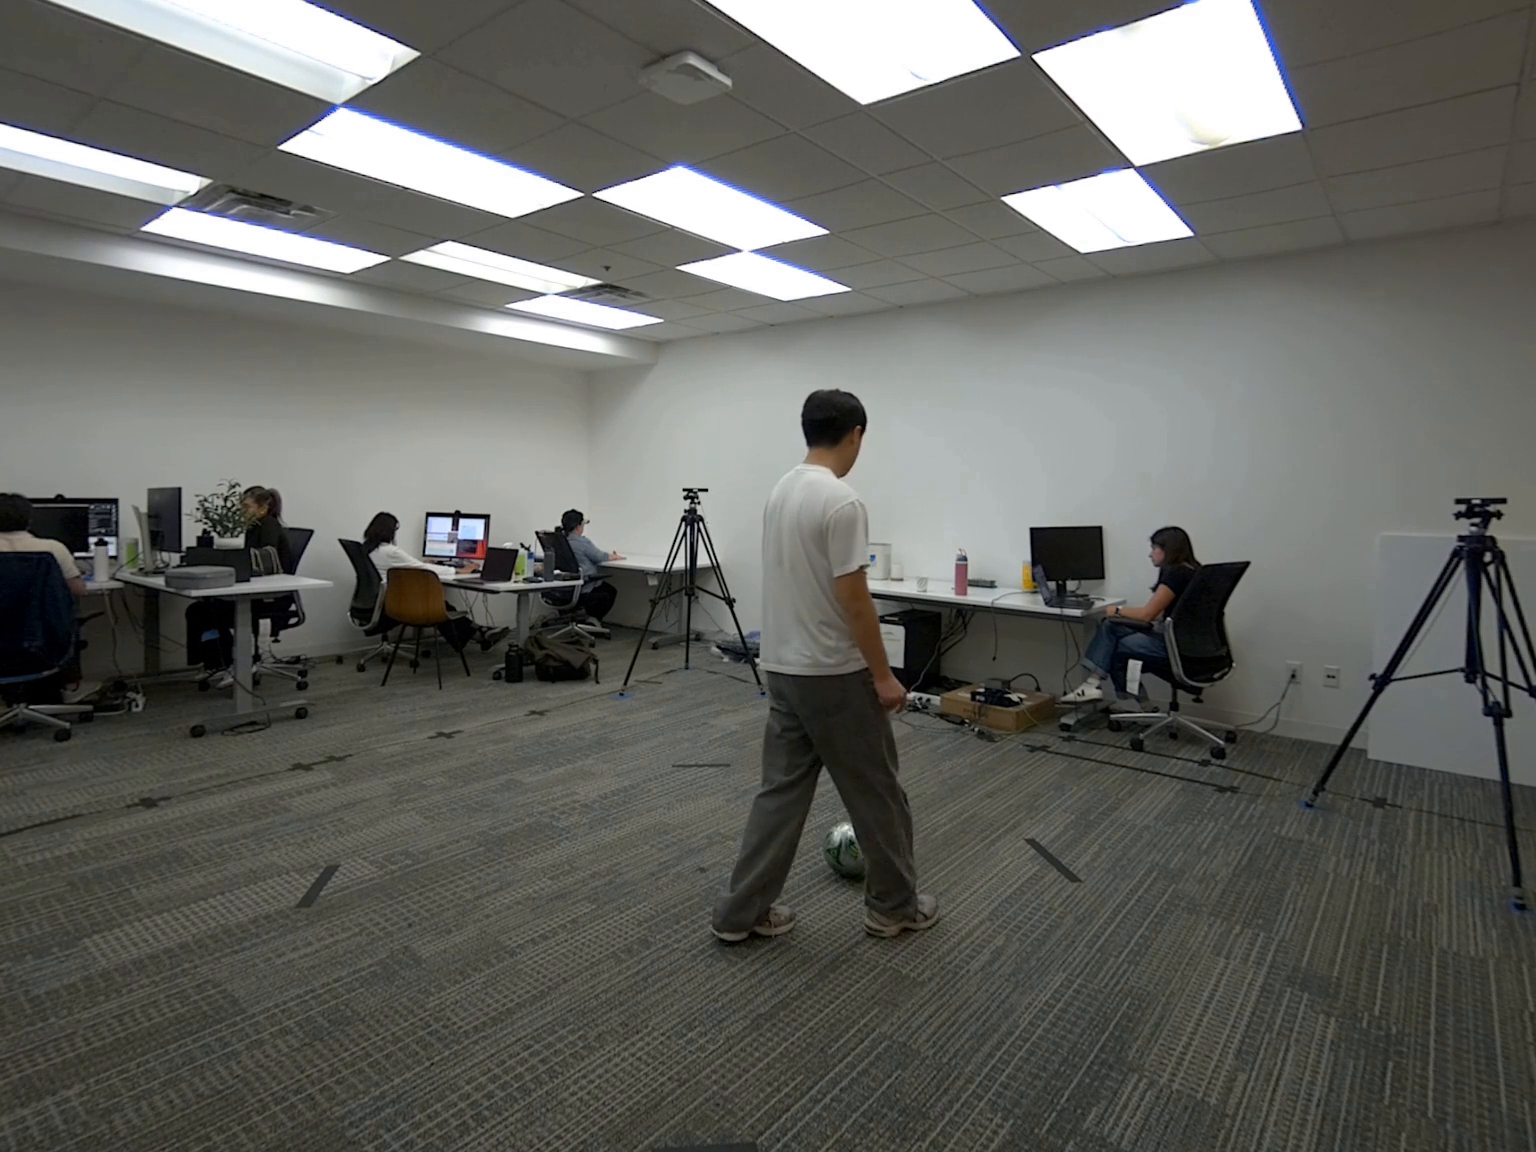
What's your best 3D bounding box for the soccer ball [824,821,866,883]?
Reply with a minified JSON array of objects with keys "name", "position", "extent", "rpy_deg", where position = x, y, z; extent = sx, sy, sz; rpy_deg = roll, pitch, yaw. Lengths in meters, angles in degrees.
[{"name":"soccer ball","position":[0.297,0.980,3.096],"extent":[0.187,0.187,0.188],"rpy_deg":[1,4,-2]}]
